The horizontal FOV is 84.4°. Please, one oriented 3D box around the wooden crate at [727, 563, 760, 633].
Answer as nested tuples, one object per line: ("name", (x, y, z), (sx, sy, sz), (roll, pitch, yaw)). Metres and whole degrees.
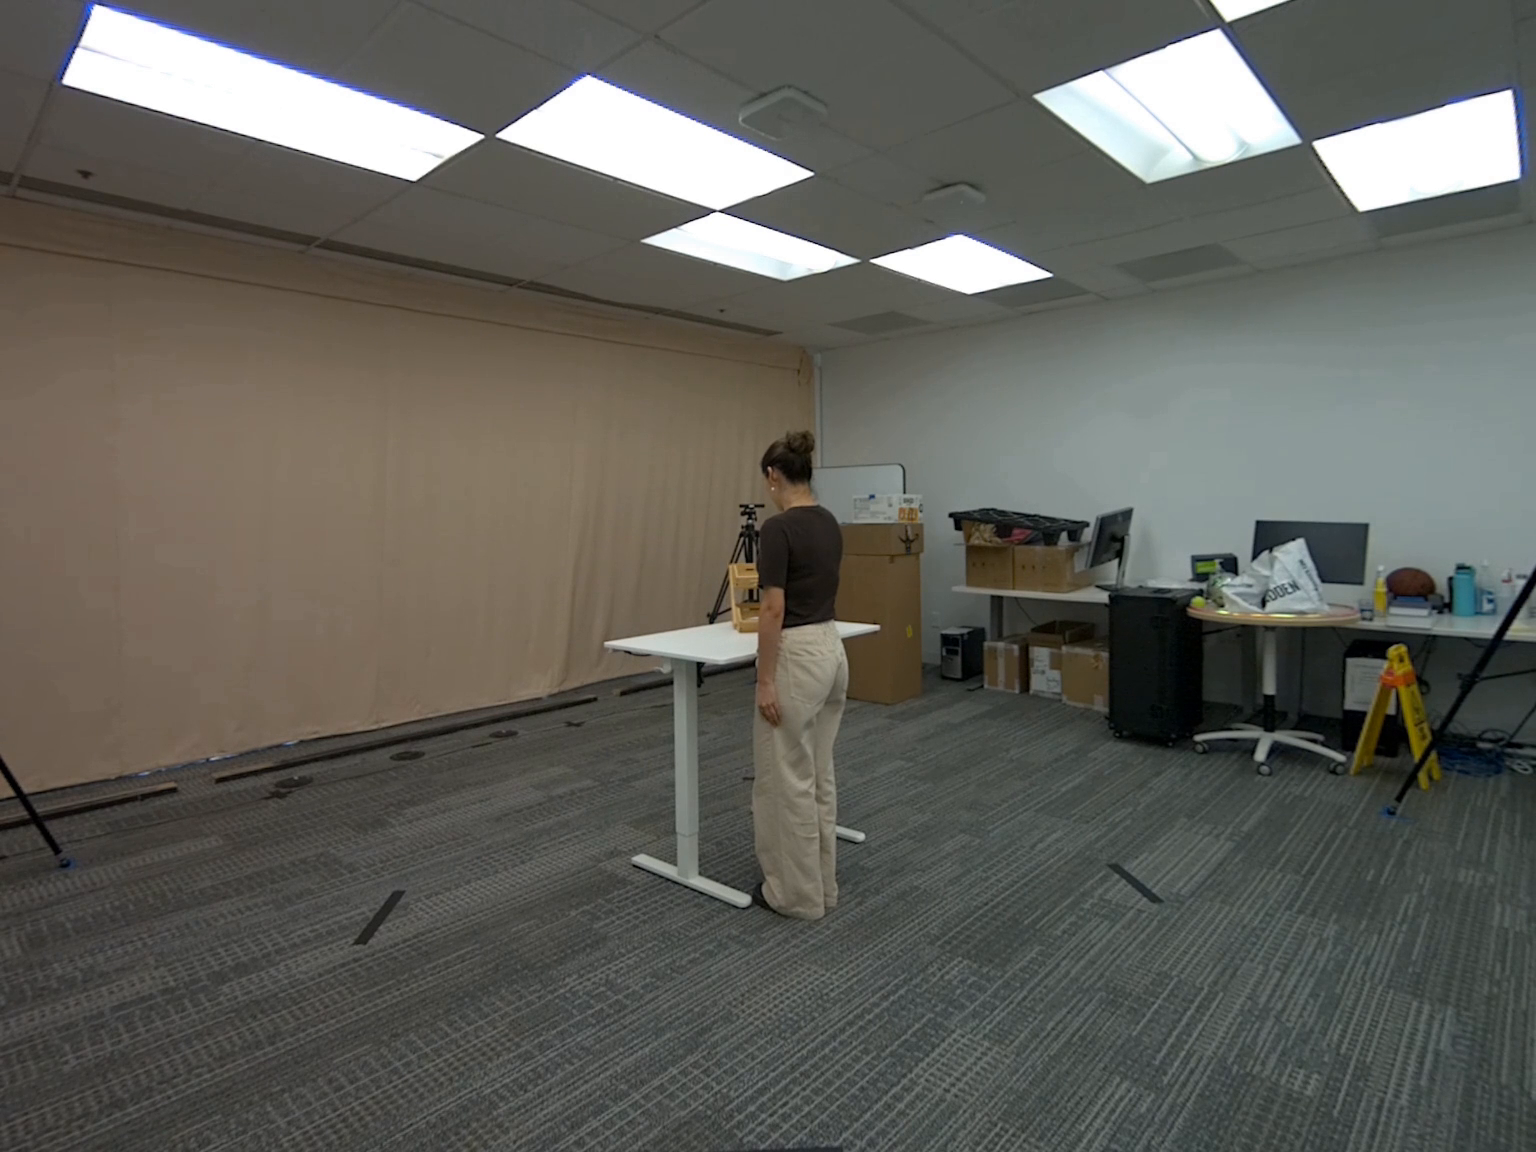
("wooden crate", (0.012, 0.080, 3.515), (0.322, 0.273, 0.304), (0, 1, -7))
